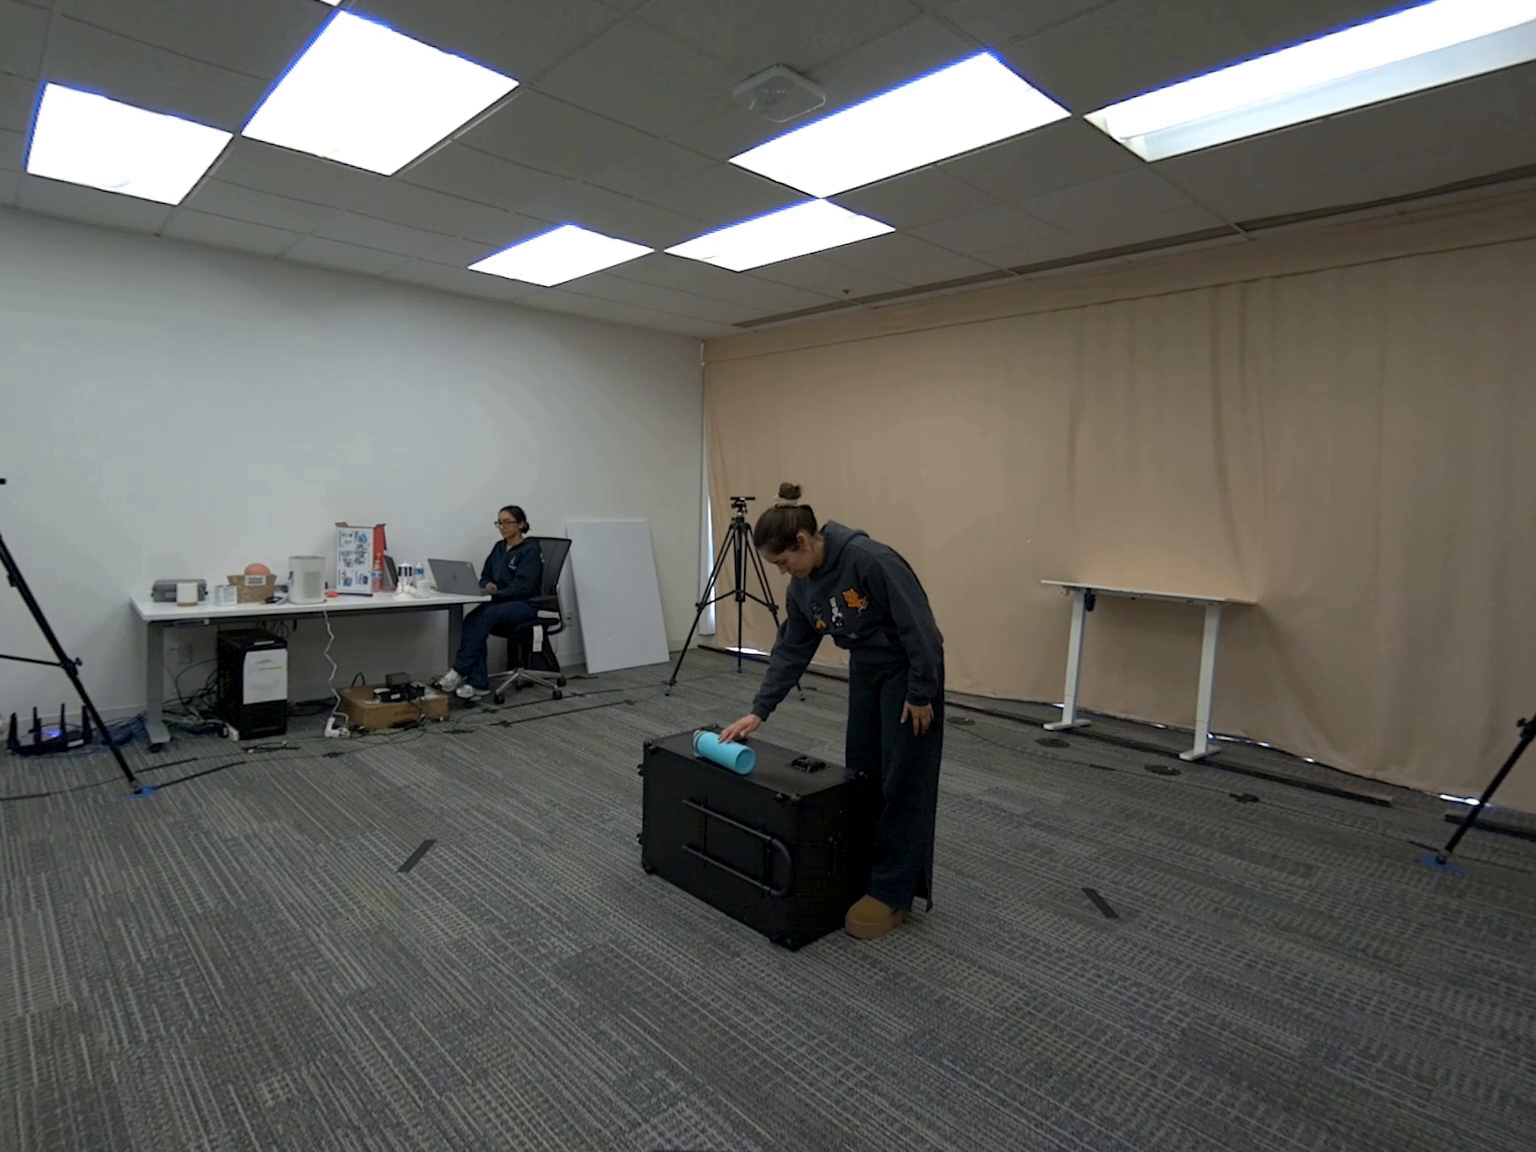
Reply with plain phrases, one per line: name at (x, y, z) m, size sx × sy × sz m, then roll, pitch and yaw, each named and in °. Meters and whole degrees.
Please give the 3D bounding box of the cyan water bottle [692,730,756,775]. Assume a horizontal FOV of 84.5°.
cyan water bottle at (-0.160, 0.590, 2.895) m, size 0.090 × 0.092 × 0.290 m, roll -3°, pitch 6°, yaw -39°
